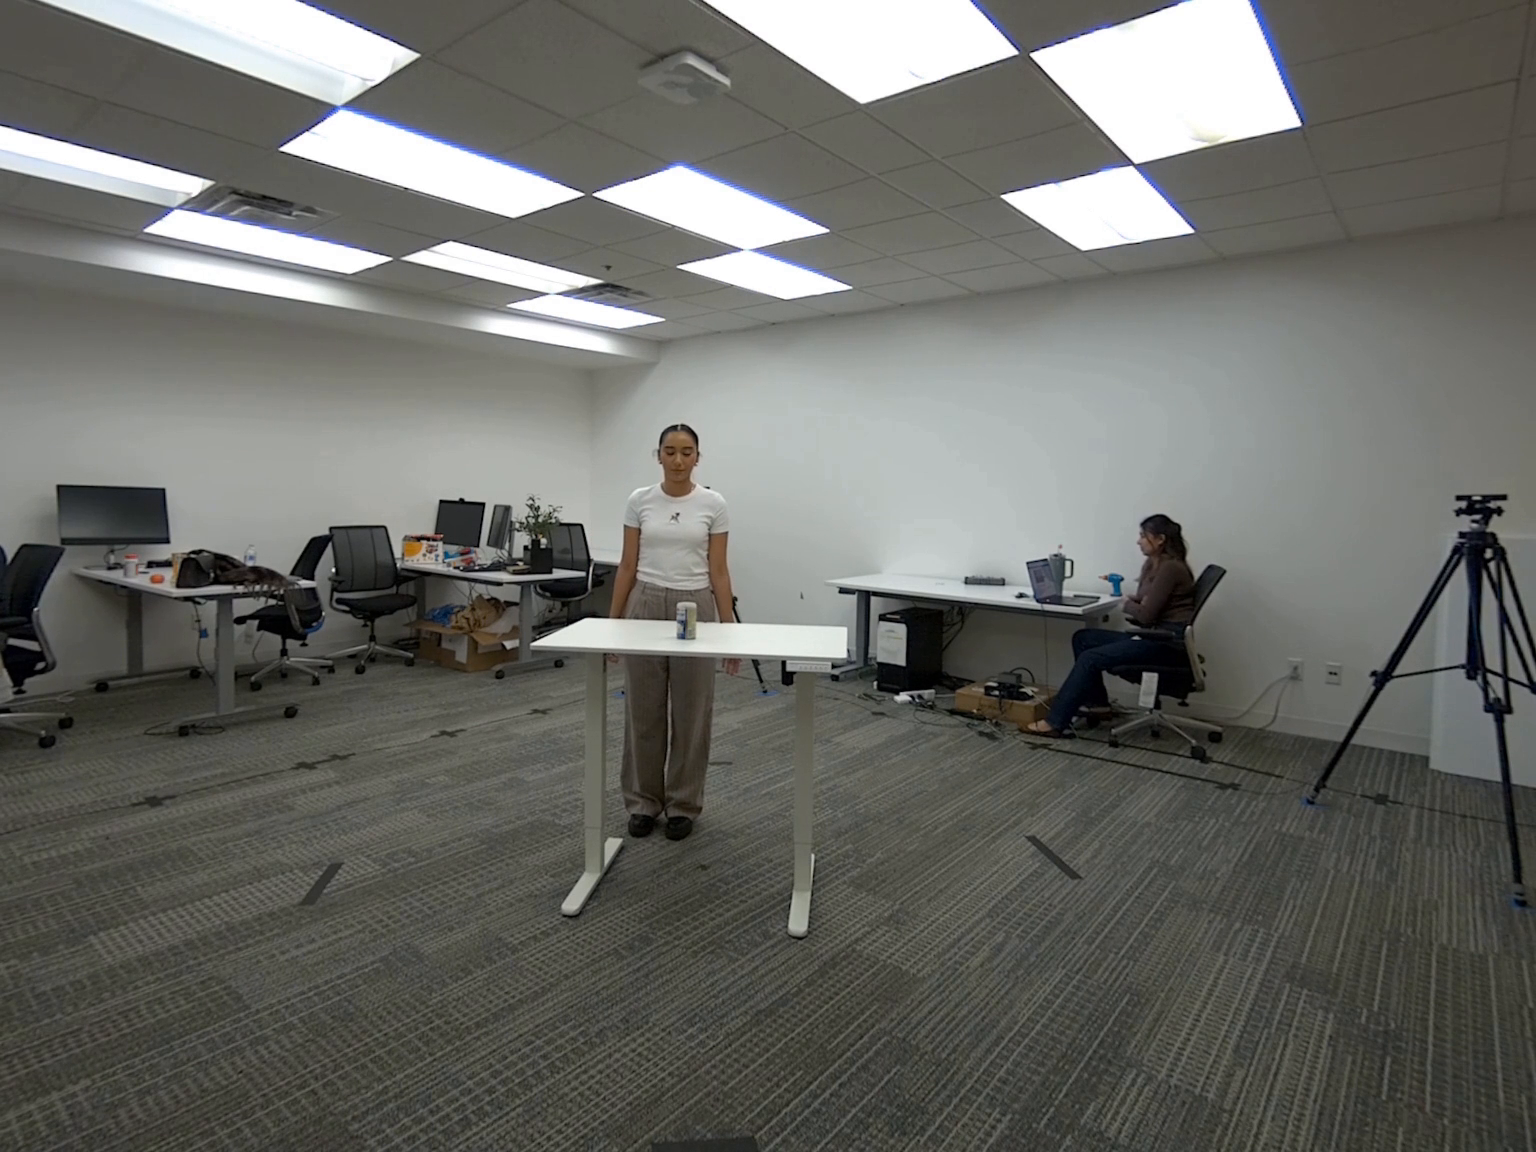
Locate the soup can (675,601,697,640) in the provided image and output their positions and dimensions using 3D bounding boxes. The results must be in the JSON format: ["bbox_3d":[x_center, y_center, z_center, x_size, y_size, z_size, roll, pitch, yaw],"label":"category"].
[{"bbox_3d":[-0.279,0.144,2.866,0.067,0.121,0.067,5,2,-2],"label":"soup can"}]
